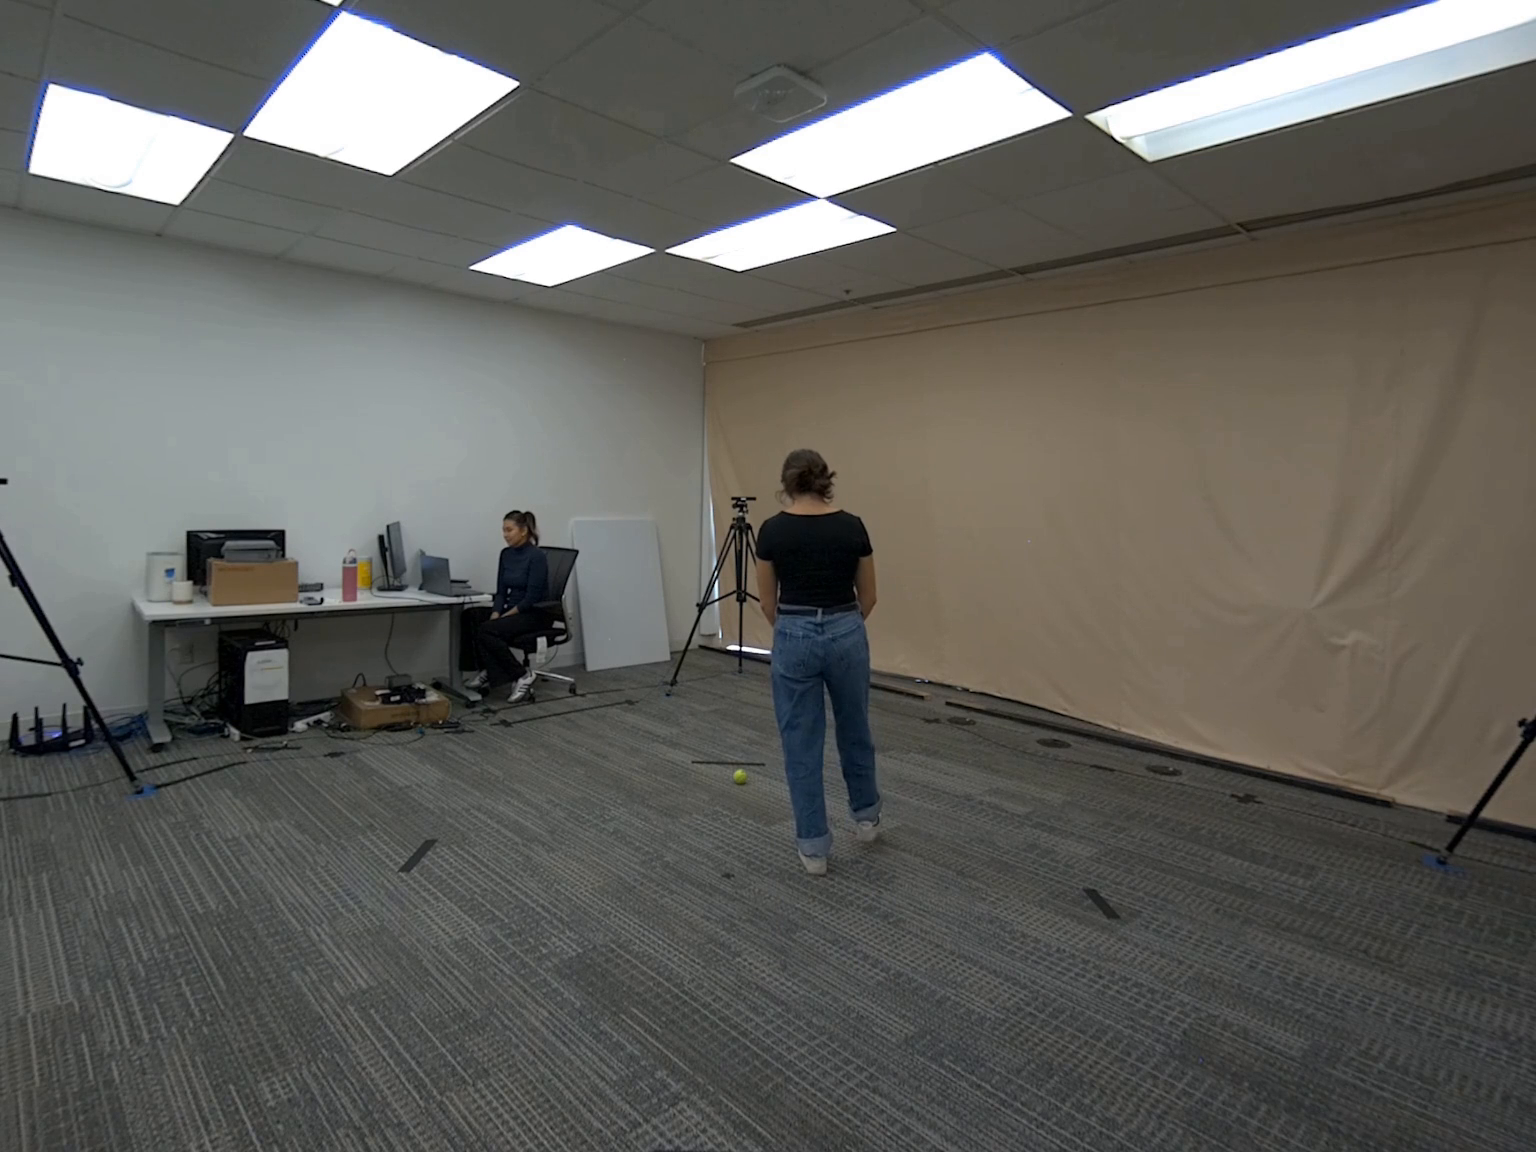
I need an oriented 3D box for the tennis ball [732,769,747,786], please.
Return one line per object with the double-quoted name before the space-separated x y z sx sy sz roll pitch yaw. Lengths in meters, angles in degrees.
"tennis ball" -0.143 0.978 4.138 0.066 0.066 0.067 1 4 -1
